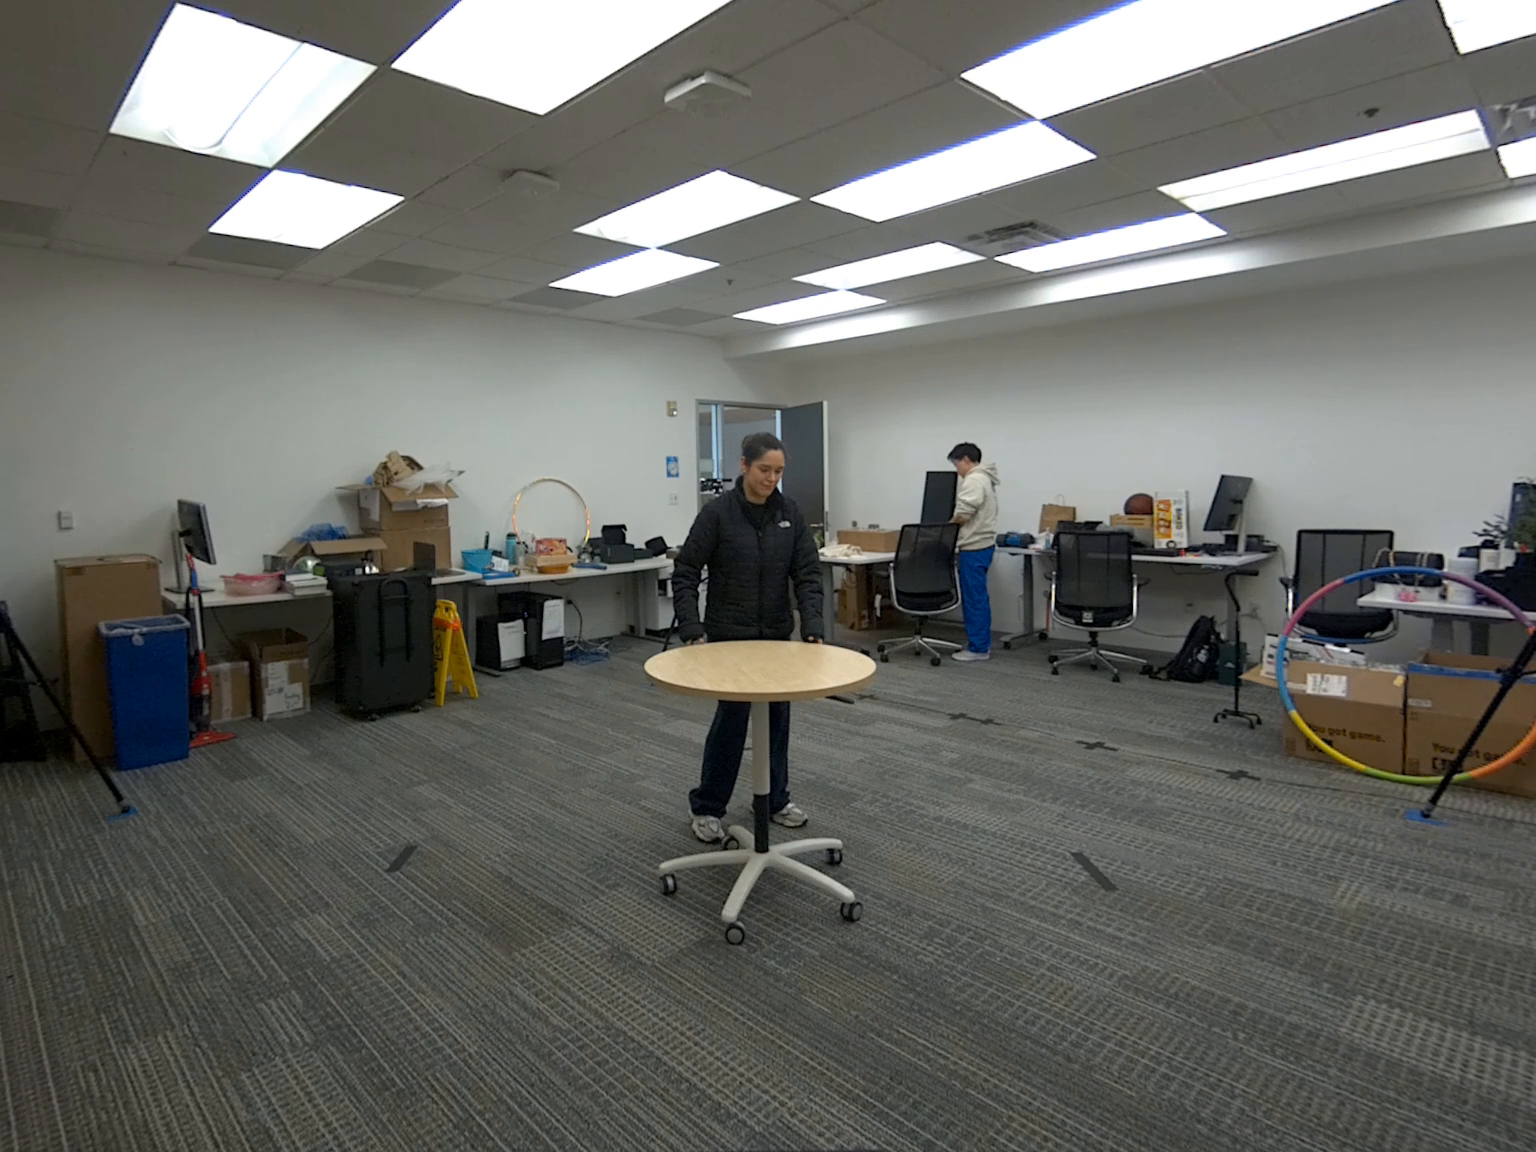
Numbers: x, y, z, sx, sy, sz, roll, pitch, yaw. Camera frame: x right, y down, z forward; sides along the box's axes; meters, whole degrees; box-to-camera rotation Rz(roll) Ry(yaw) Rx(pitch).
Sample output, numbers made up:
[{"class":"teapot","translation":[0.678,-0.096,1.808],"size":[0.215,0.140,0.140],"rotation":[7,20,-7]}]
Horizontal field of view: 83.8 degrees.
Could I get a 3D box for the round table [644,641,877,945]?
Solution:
[{"class":"round table","translation":[-0.012,0.680,2.869],"size":[0.784,0.783,0.789],"rotation":[-1,5,-2]}]
